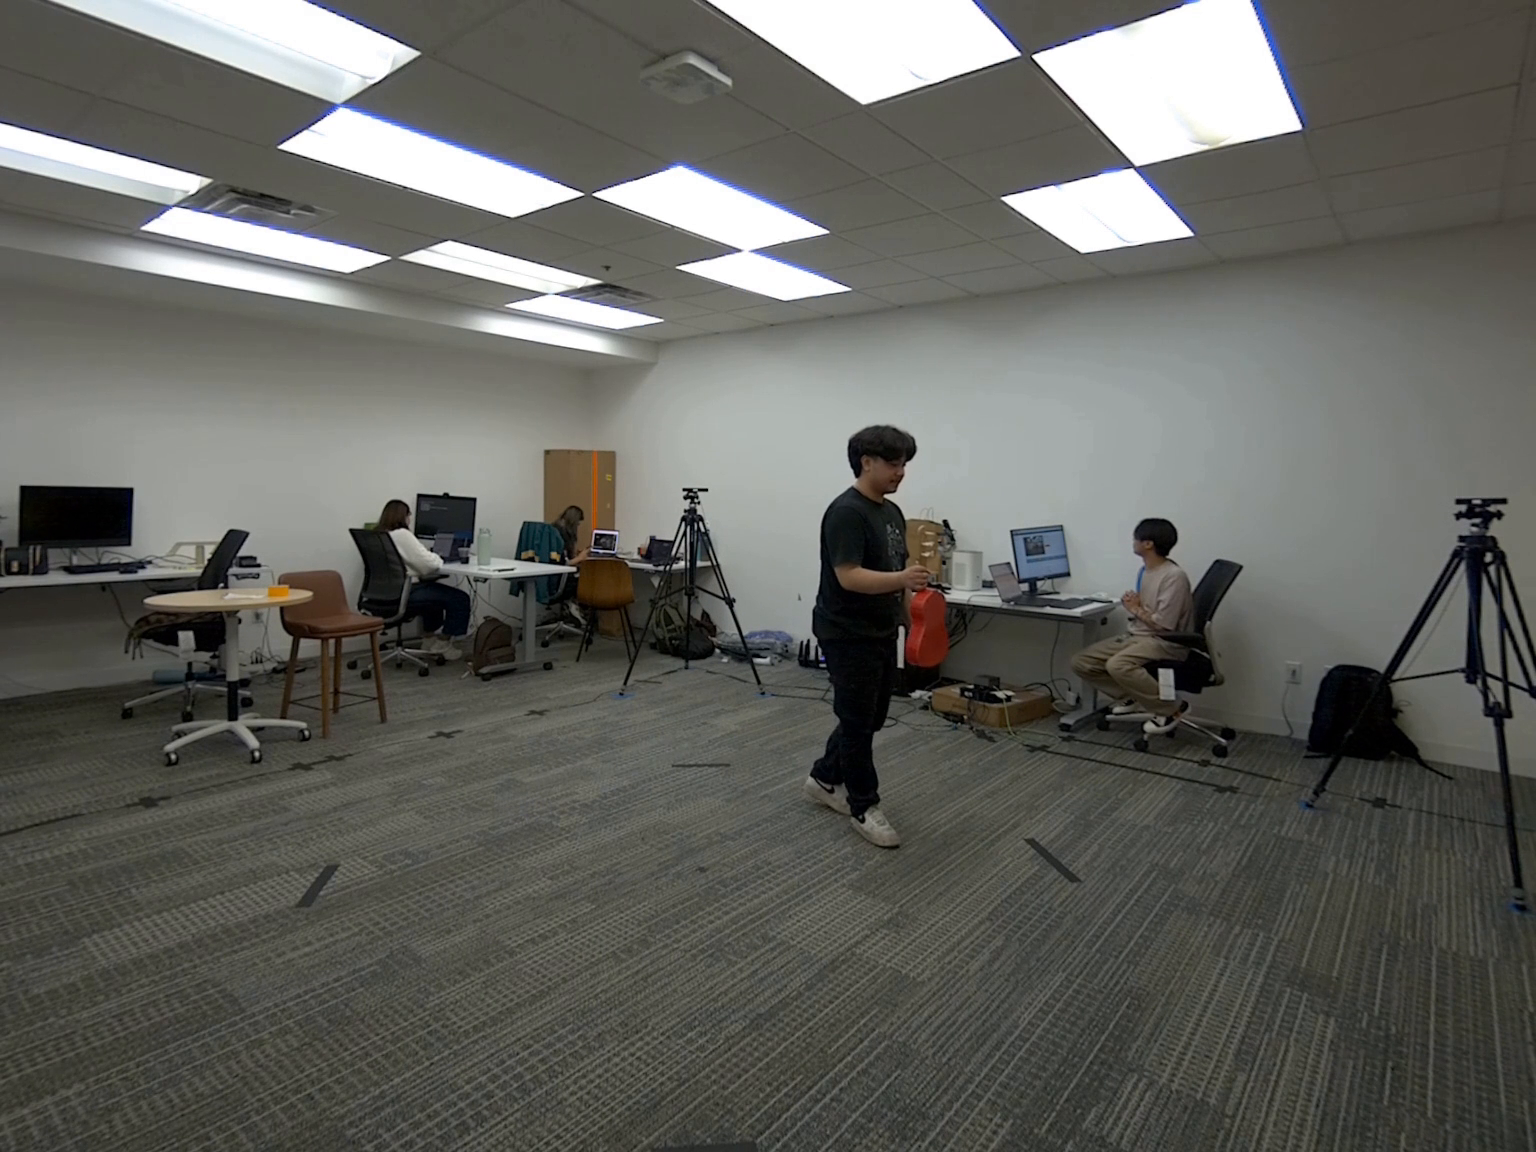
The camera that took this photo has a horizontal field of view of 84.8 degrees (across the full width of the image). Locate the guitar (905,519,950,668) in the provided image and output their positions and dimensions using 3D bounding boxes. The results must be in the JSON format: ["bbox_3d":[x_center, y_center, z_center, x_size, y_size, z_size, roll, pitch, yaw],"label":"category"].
[{"bbox_3d":[0.543,0.077,3.046,0.189,0.491,0.073,-18,16,-42],"label":"guitar"}]
